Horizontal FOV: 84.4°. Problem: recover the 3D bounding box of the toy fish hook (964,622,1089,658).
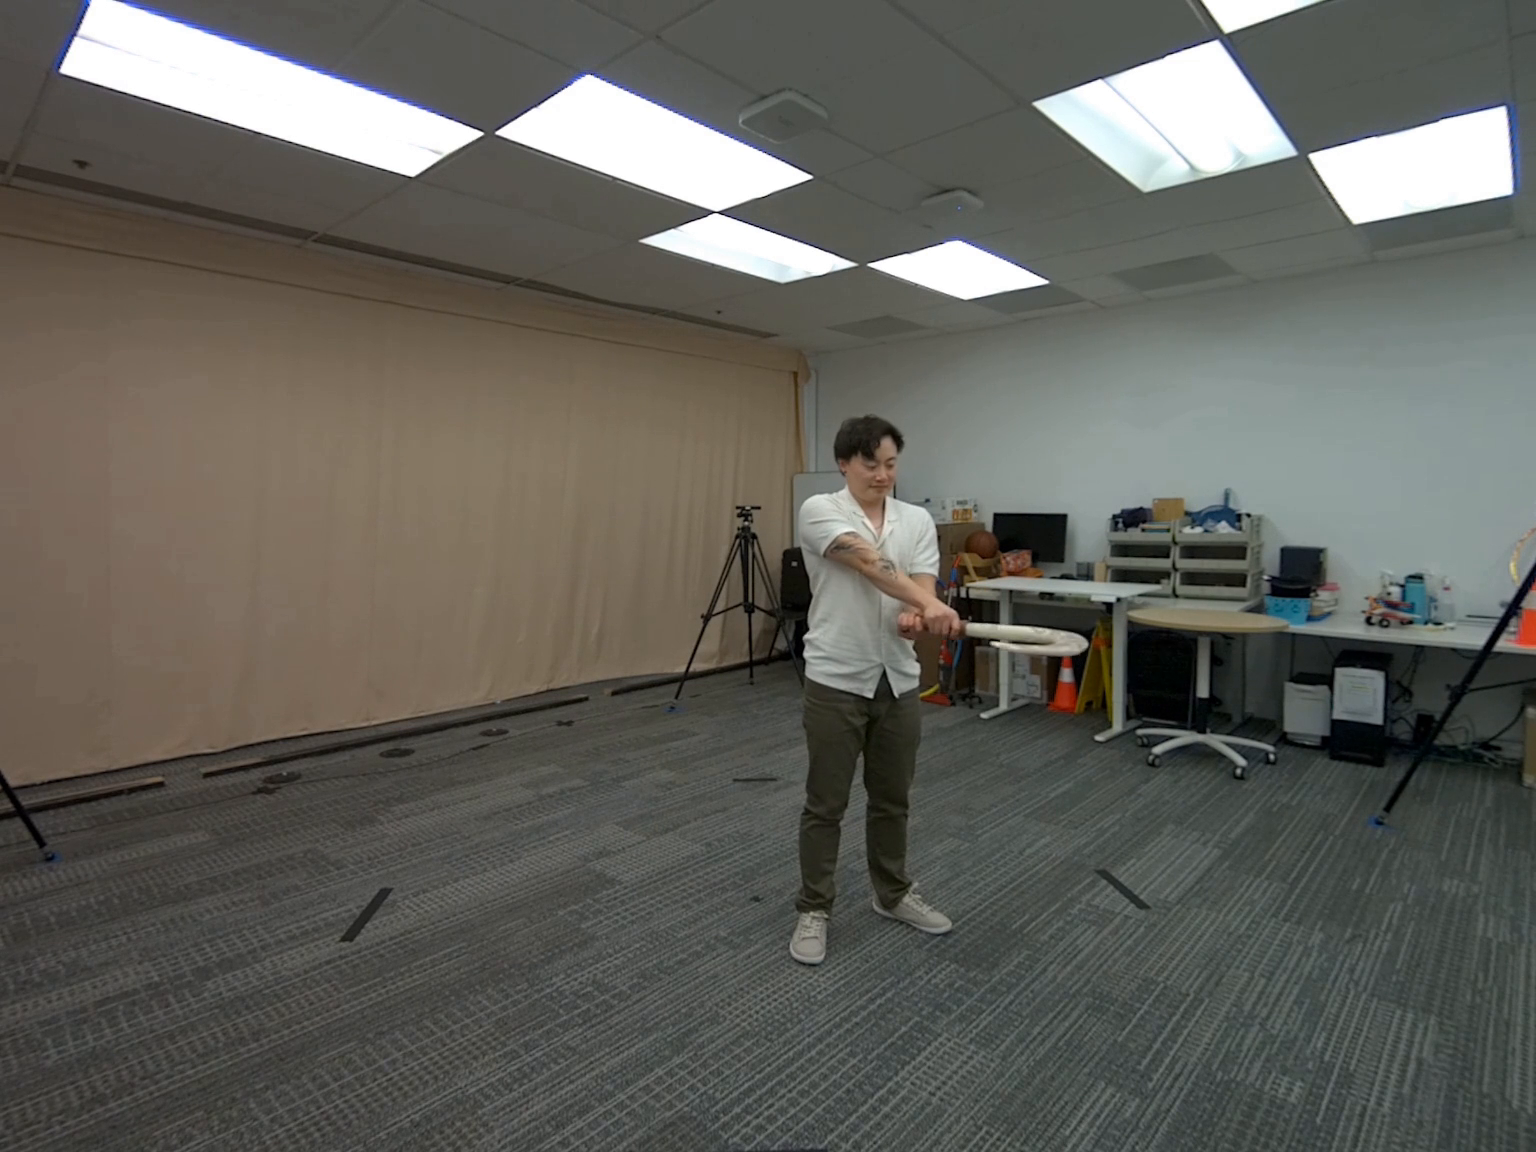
[{"bbox_3d":[0.554,0.156,2.164,0.521,0.048,0.218,4,1,29],"label":"toy fish hook"}]
